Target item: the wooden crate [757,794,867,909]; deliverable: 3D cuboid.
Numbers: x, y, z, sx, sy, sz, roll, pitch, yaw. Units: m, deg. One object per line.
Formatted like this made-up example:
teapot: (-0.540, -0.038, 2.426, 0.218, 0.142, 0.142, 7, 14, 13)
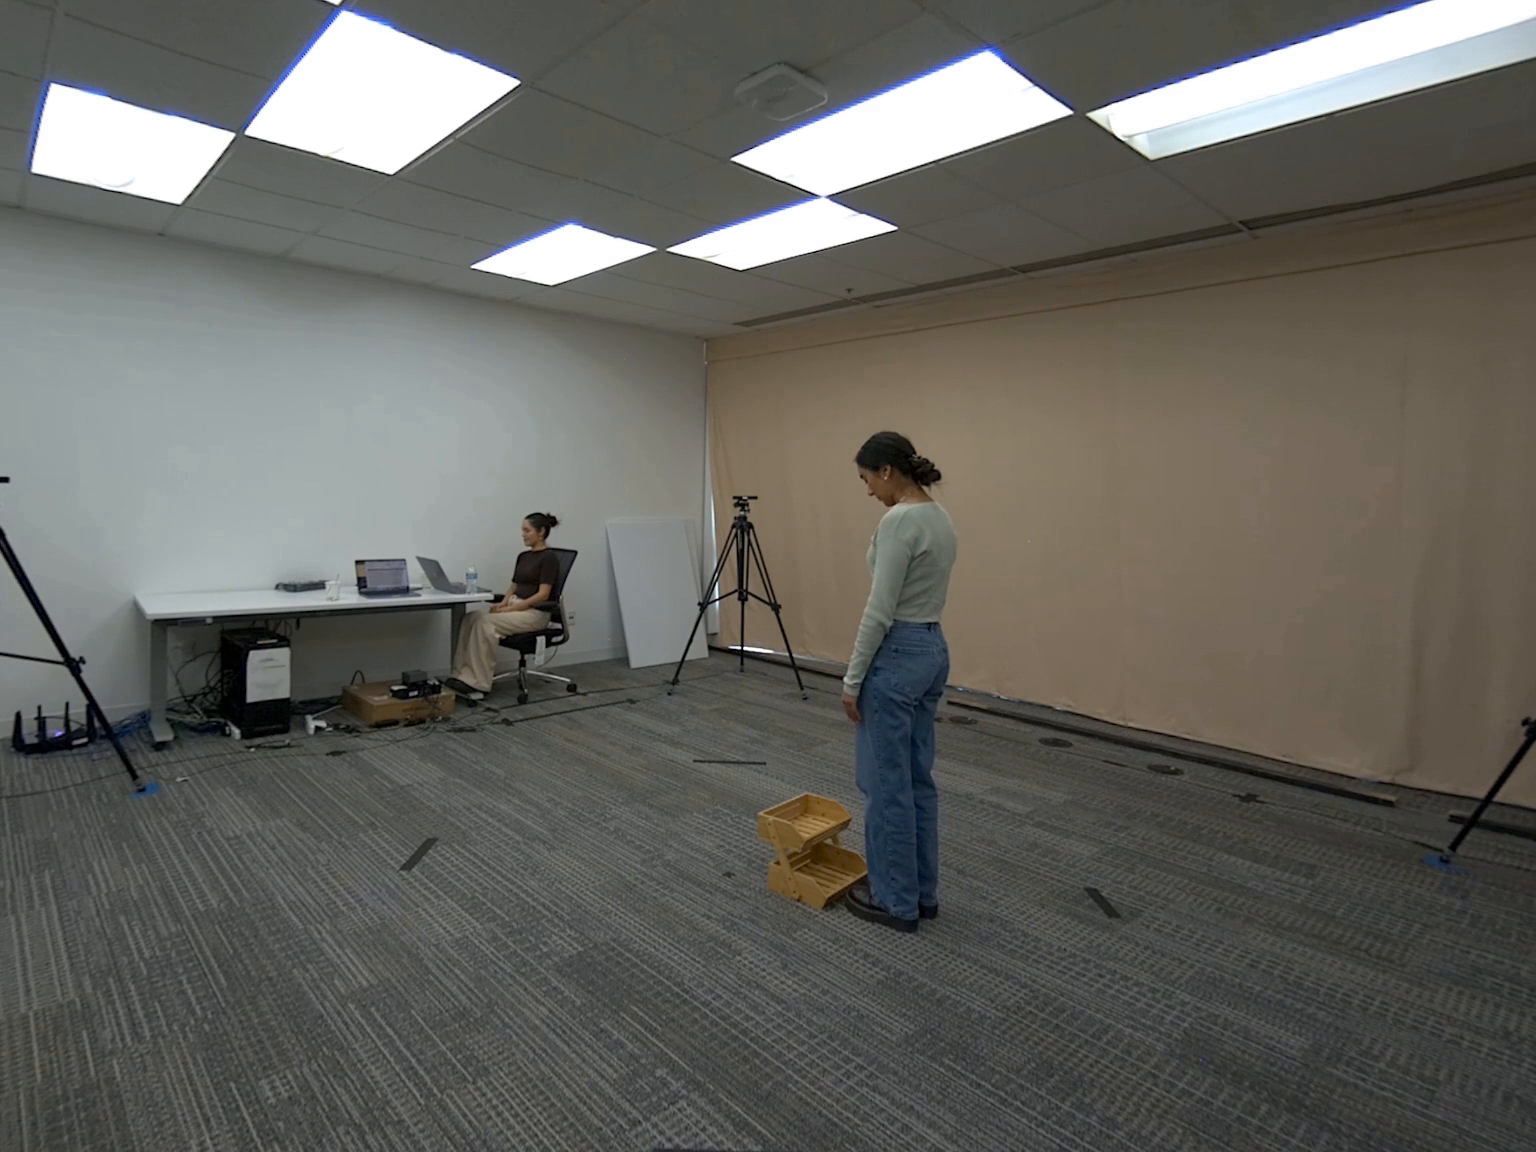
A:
wooden crate: (0.166, 0.982, 3.044, 0.309, 0.272, 0.317, 4, 5, 39)
